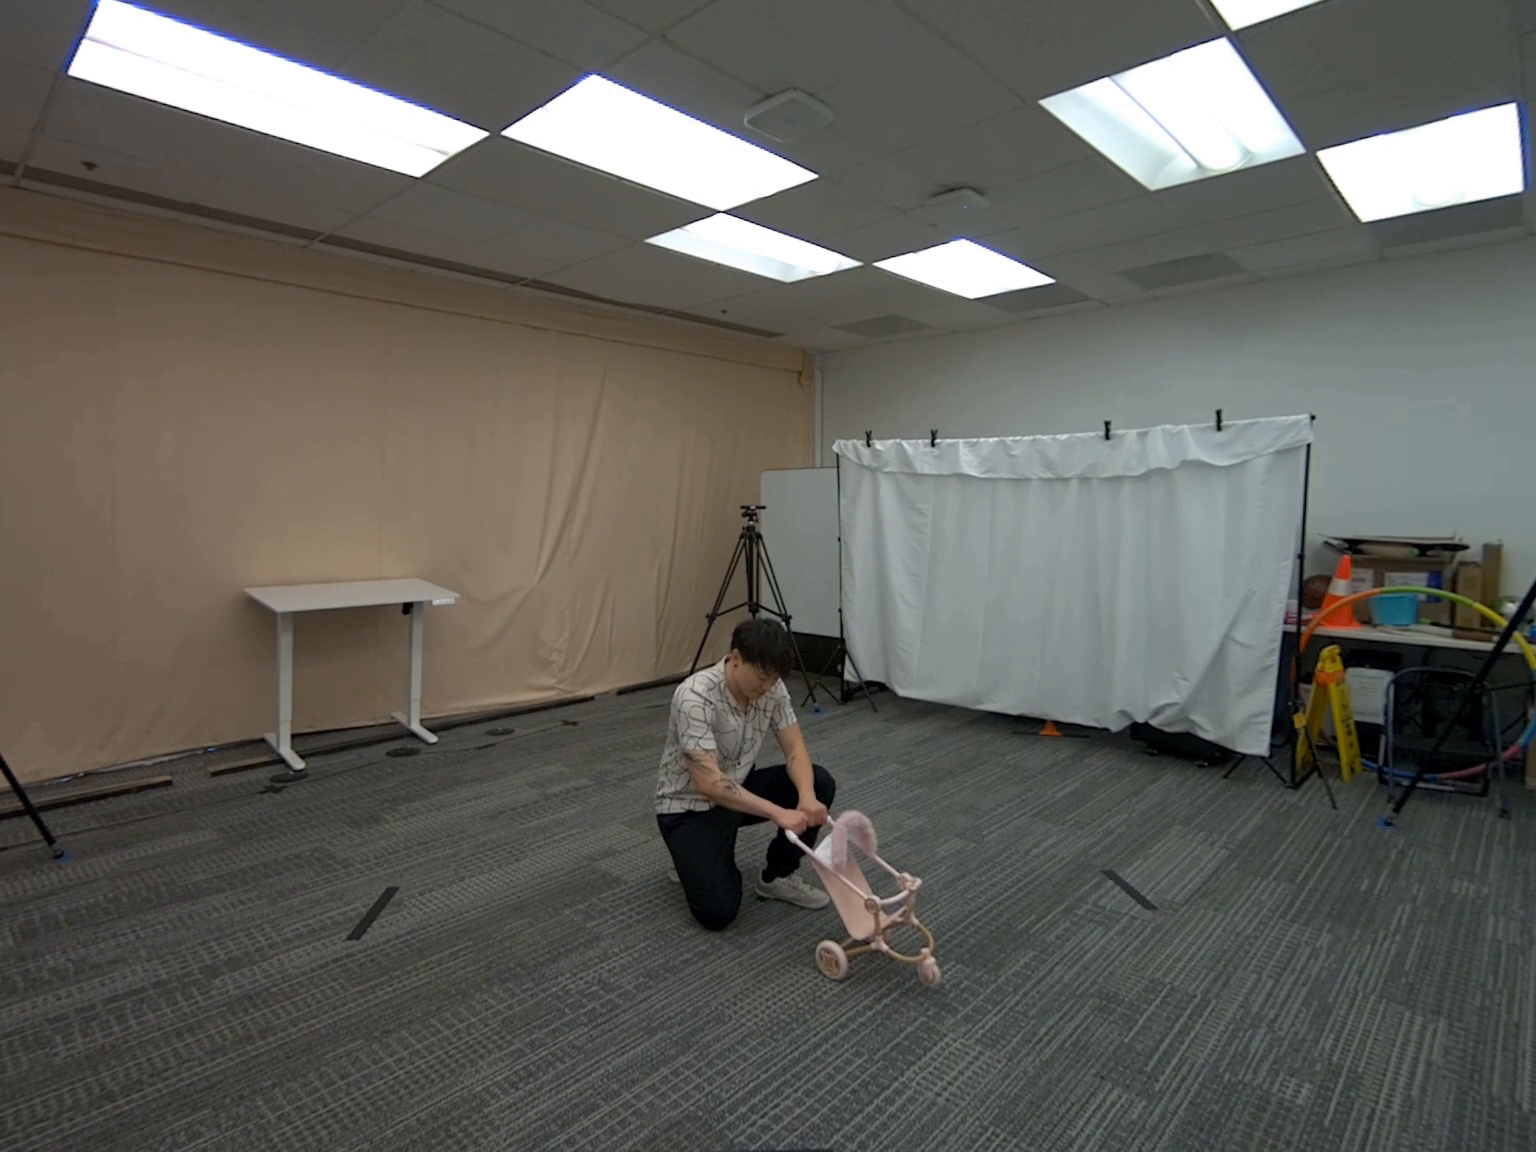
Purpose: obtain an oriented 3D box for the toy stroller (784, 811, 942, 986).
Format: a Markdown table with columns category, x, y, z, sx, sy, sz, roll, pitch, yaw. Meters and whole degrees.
| category | x | y | z | sx | sy | sz | roll | pitch | yaw |
| --- | --- | --- | --- | --- | --- | --- | --- | --- | --- |
| toy stroller | 0.298 | 0.952 | 2.535 | 0.273 | 0.541 | 0.348 | -5 | -17 | -46 |
